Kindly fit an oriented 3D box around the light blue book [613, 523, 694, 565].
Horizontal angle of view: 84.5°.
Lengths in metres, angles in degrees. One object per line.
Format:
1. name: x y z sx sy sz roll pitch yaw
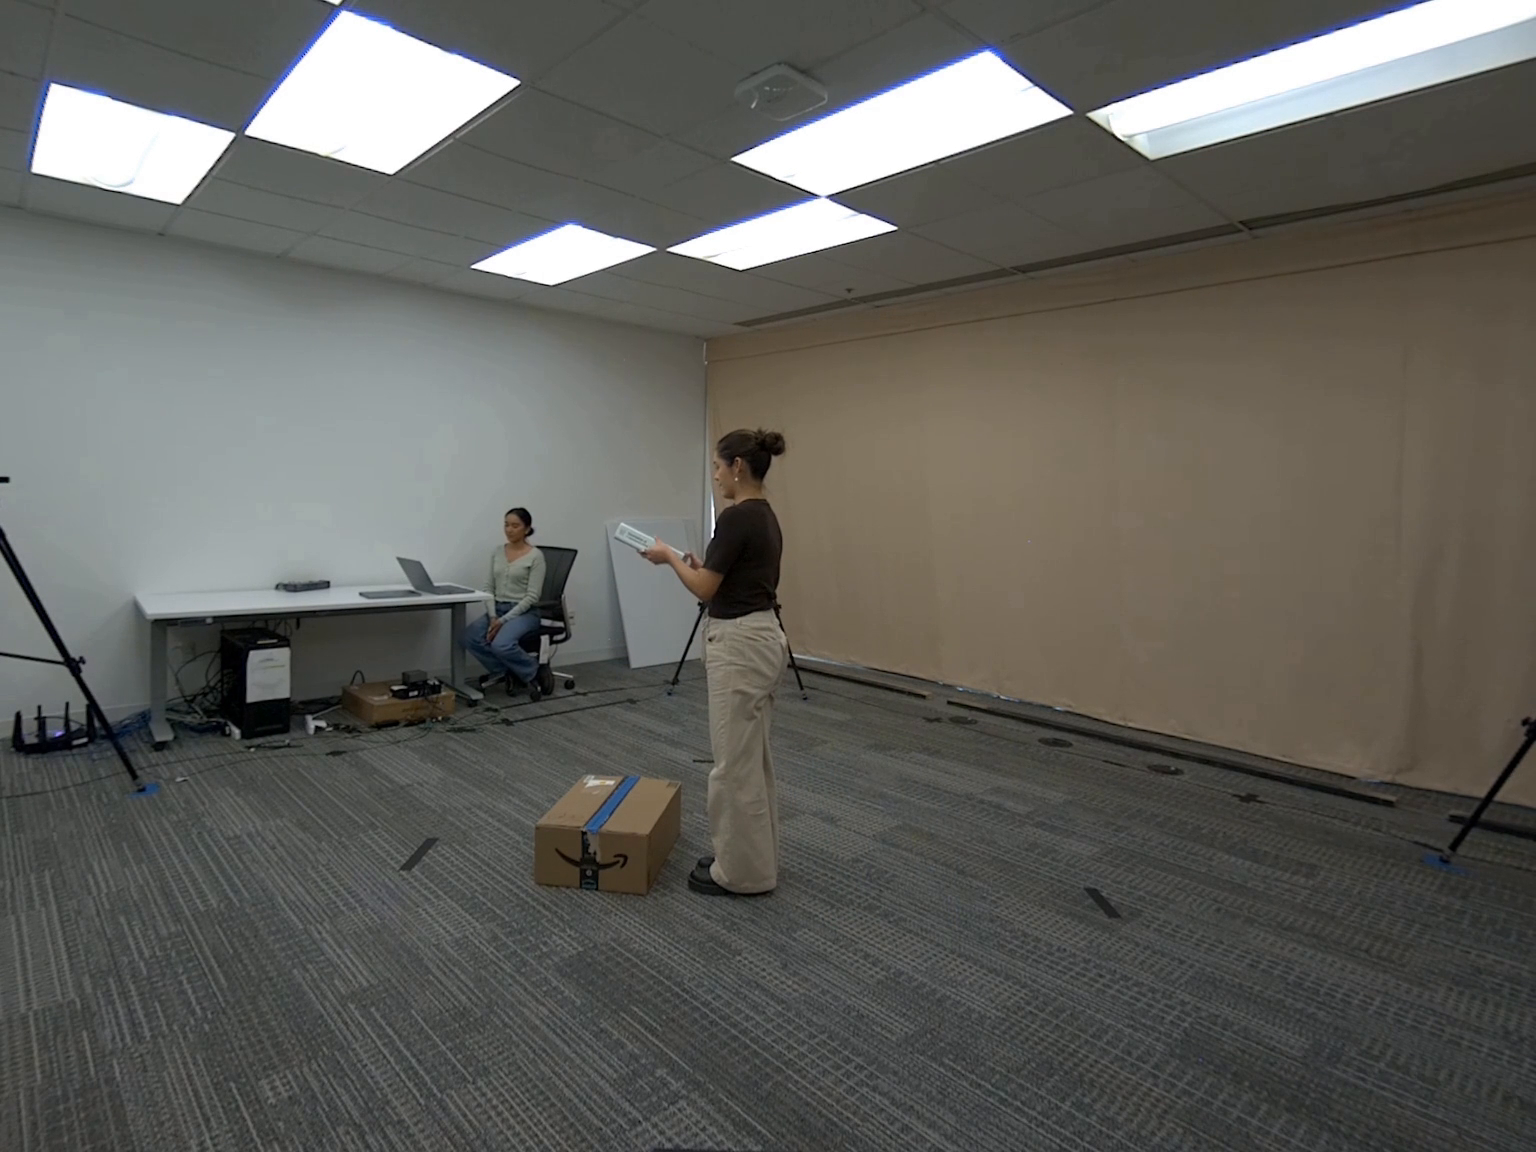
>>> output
1. light blue book: -0.428 -0.111 3.138 0.262 0.059 0.190 26 0 5
